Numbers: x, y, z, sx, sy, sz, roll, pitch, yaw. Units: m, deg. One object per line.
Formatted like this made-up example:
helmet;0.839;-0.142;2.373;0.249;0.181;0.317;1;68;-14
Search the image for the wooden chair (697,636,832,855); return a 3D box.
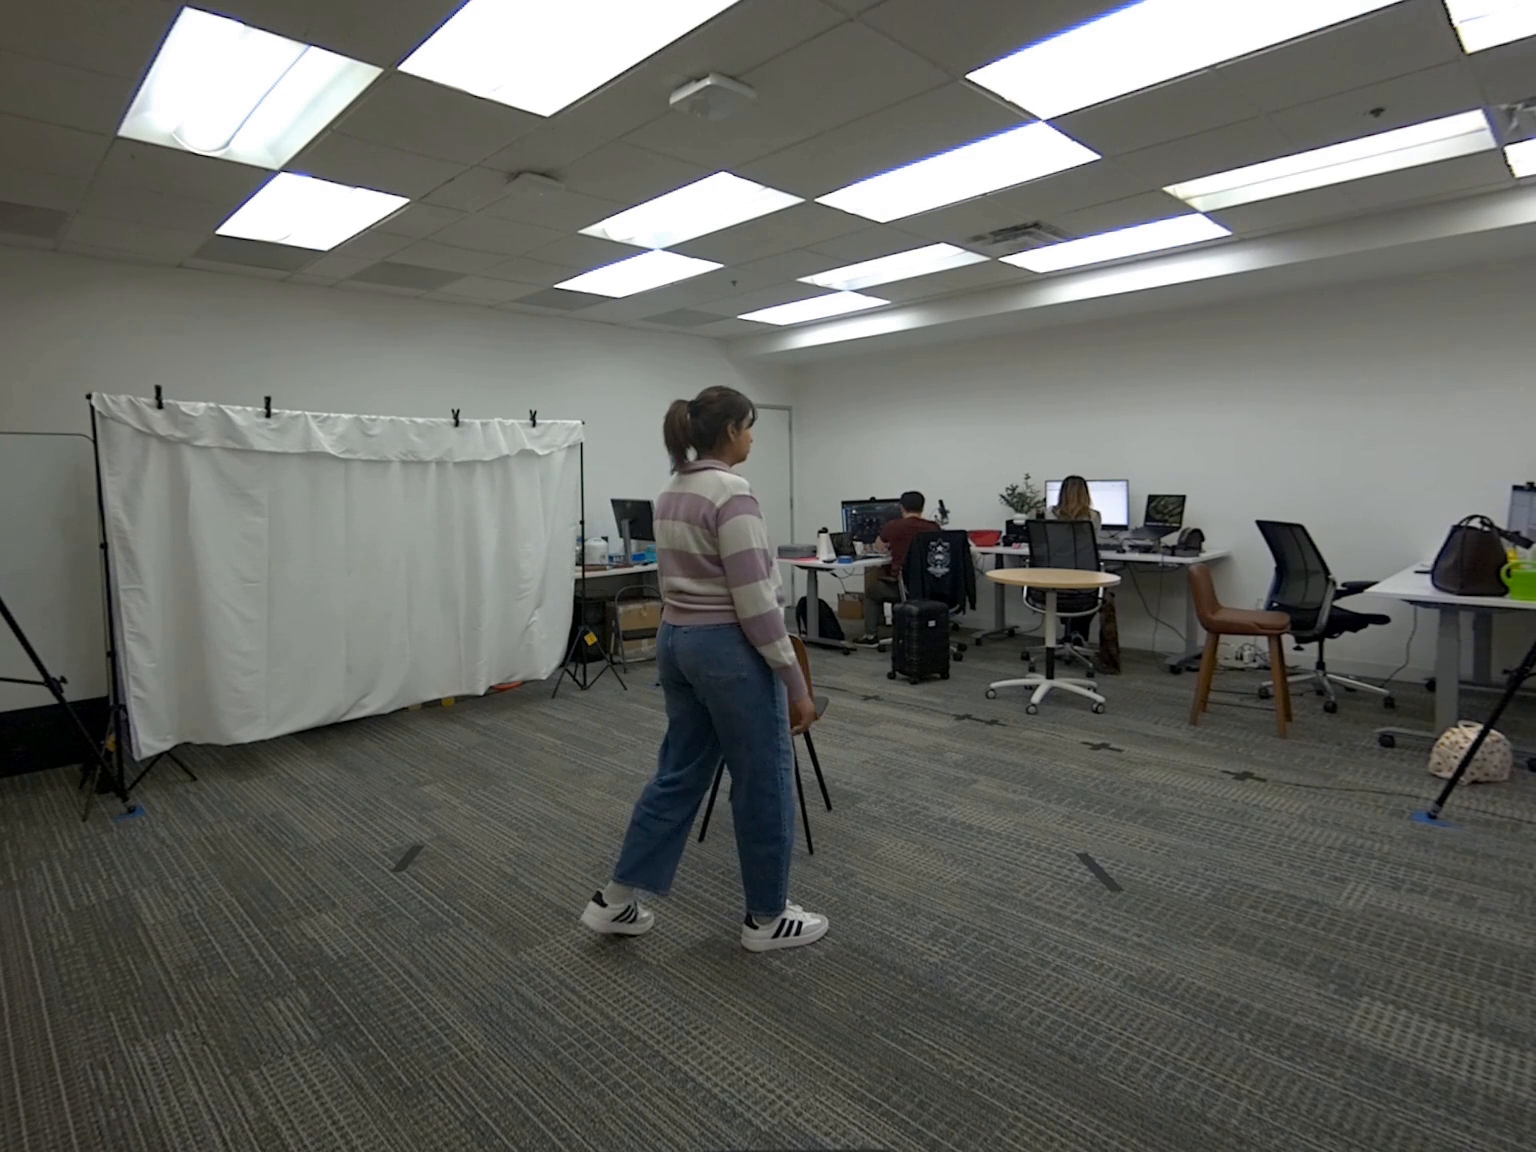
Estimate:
wooden chair;0.003;0.582;3.430;0.486;0.871;0.519;0;8;15
